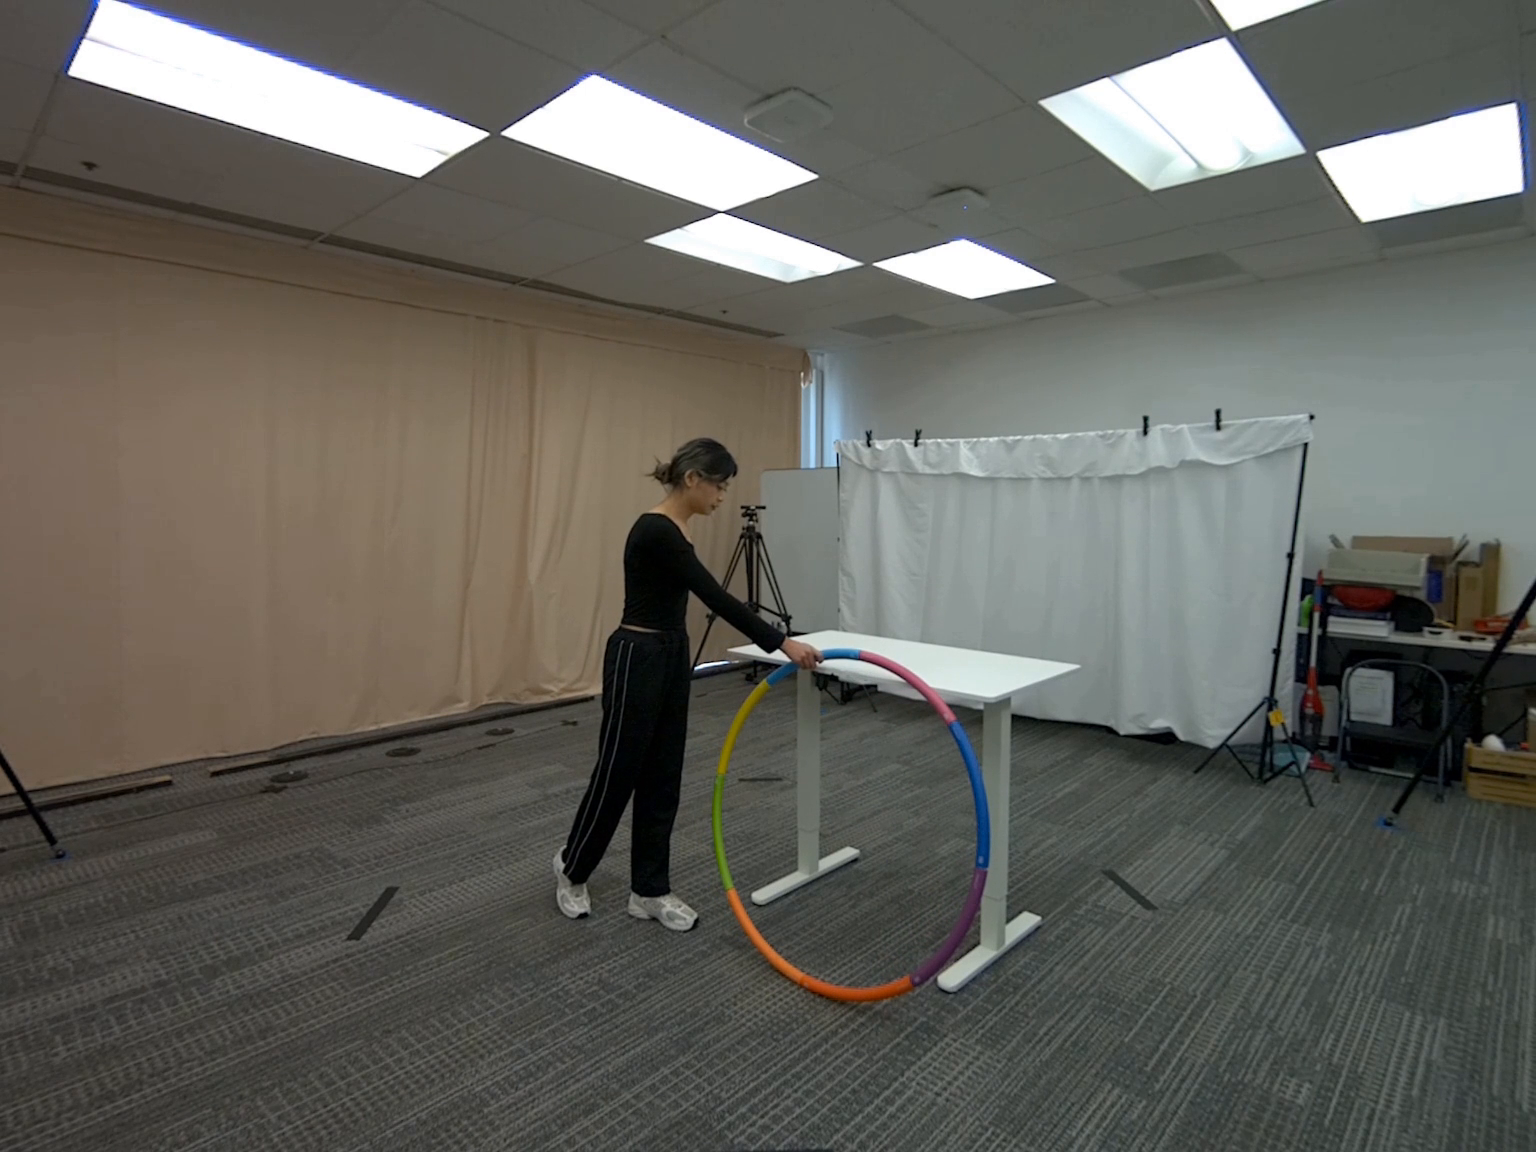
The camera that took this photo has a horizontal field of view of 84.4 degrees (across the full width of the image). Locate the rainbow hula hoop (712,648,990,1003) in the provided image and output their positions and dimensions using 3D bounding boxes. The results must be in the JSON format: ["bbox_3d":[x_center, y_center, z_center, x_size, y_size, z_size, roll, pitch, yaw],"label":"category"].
[{"bbox_3d":[0.204,0.713,2.491,1.011,0.982,0.034,4,-10,43],"label":"rainbow hula hoop"}]
